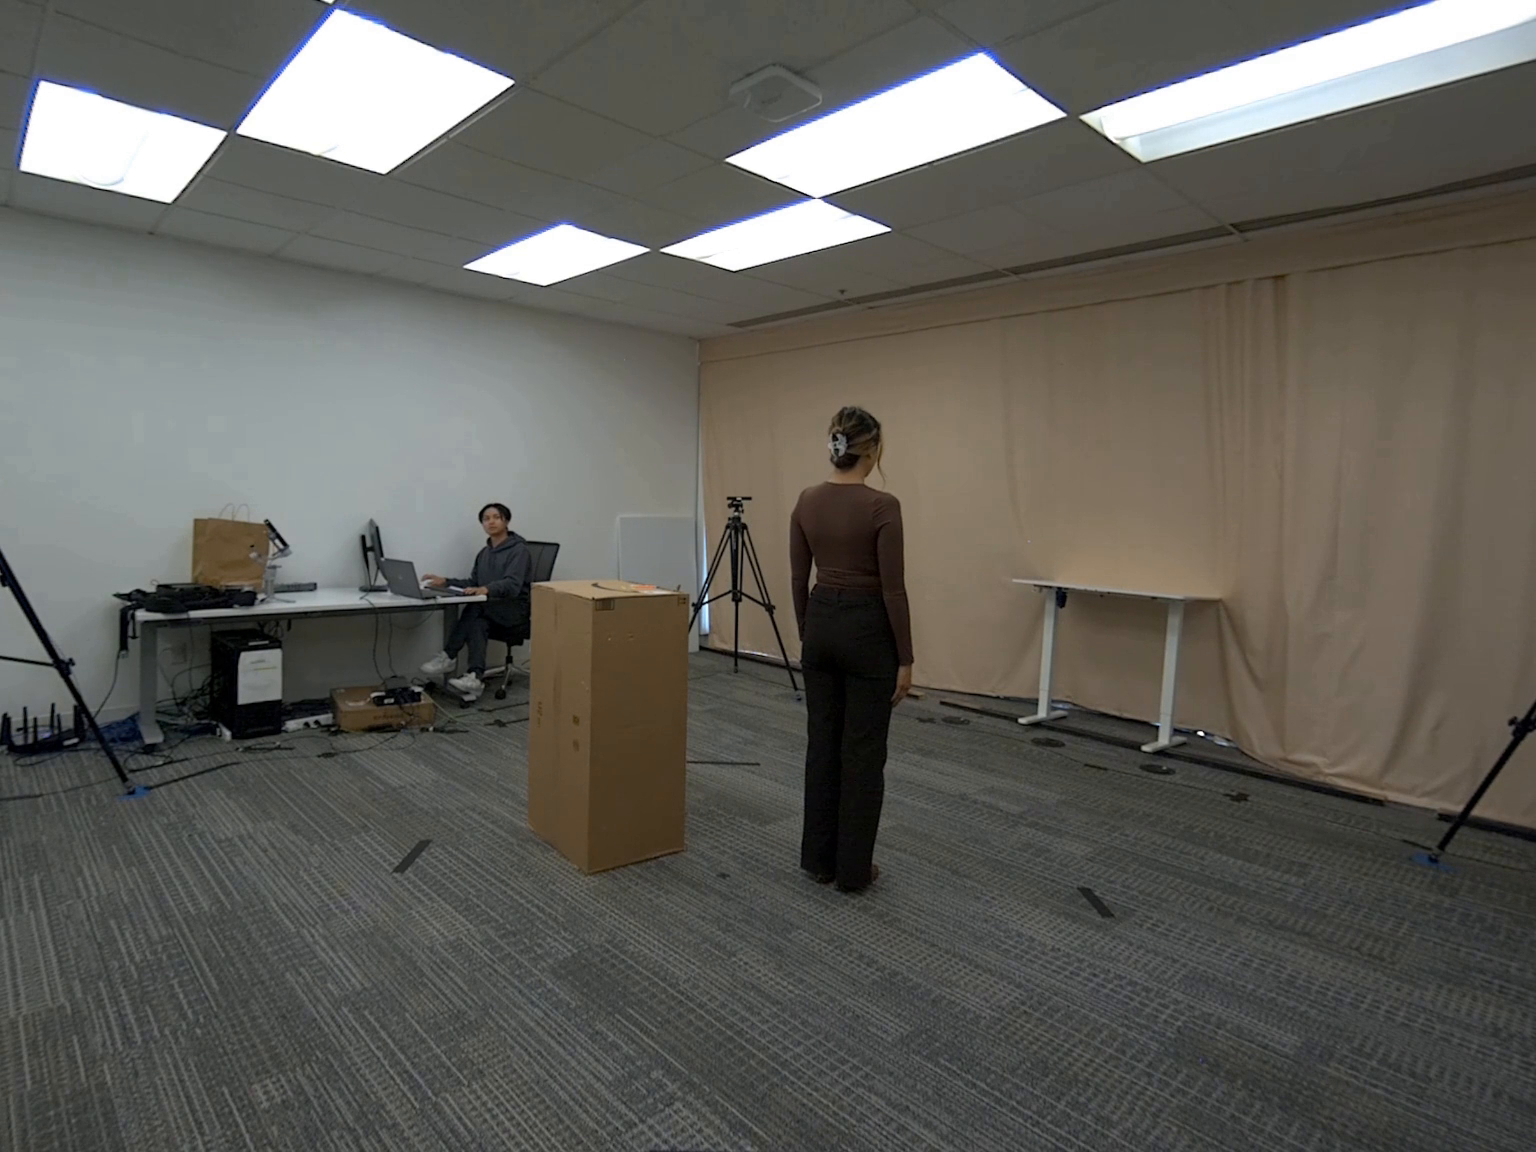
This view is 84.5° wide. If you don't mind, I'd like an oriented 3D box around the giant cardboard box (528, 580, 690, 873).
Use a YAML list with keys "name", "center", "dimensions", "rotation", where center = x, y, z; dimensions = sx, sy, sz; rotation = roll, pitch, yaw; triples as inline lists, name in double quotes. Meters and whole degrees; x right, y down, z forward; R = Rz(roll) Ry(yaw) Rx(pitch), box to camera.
- name: "giant cardboard box"
  center: [-0.664, 0.557, 3.411]
  dimensions: [0.437, 1.025, 0.598]
  rotation: [0, 4, -36]
